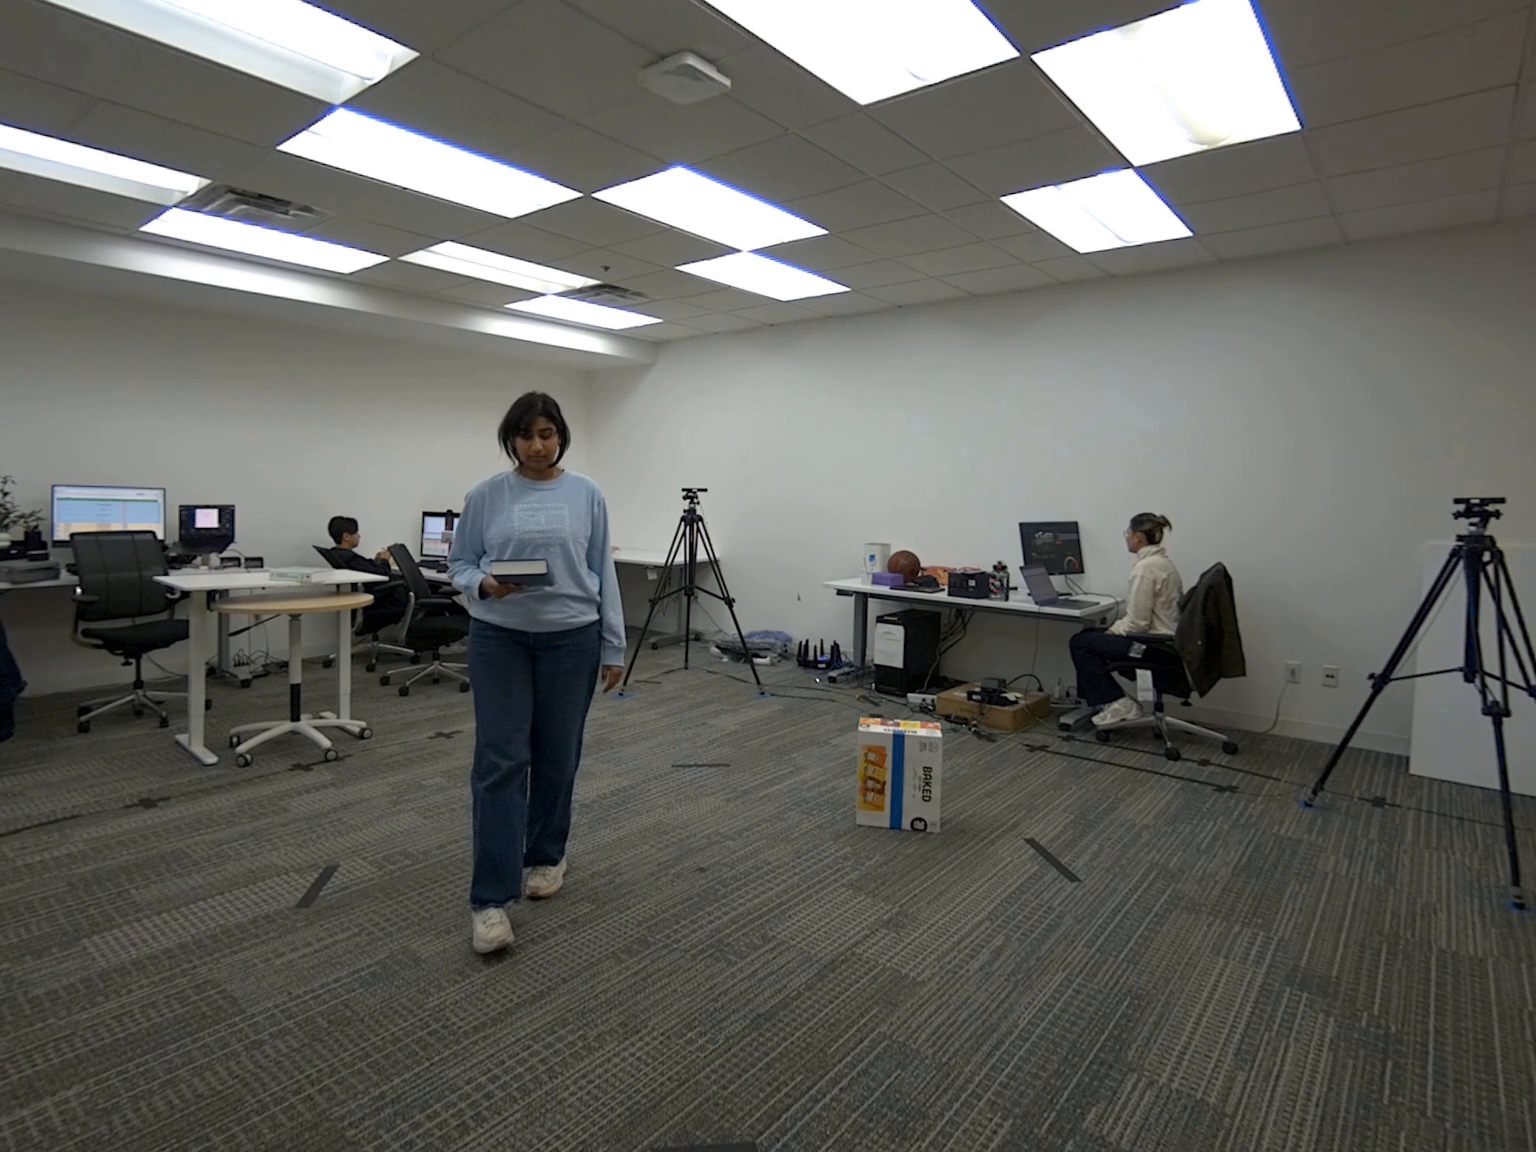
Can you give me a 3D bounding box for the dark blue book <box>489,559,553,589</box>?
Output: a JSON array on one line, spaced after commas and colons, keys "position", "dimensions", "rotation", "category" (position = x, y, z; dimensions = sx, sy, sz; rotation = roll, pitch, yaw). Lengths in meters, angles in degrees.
[{"position": [-0.765, -0.009, 2.541], "dimensions": [0.162, 0.046, 0.244], "rotation": [-3, -9, -8], "category": "dark blue book"}]
